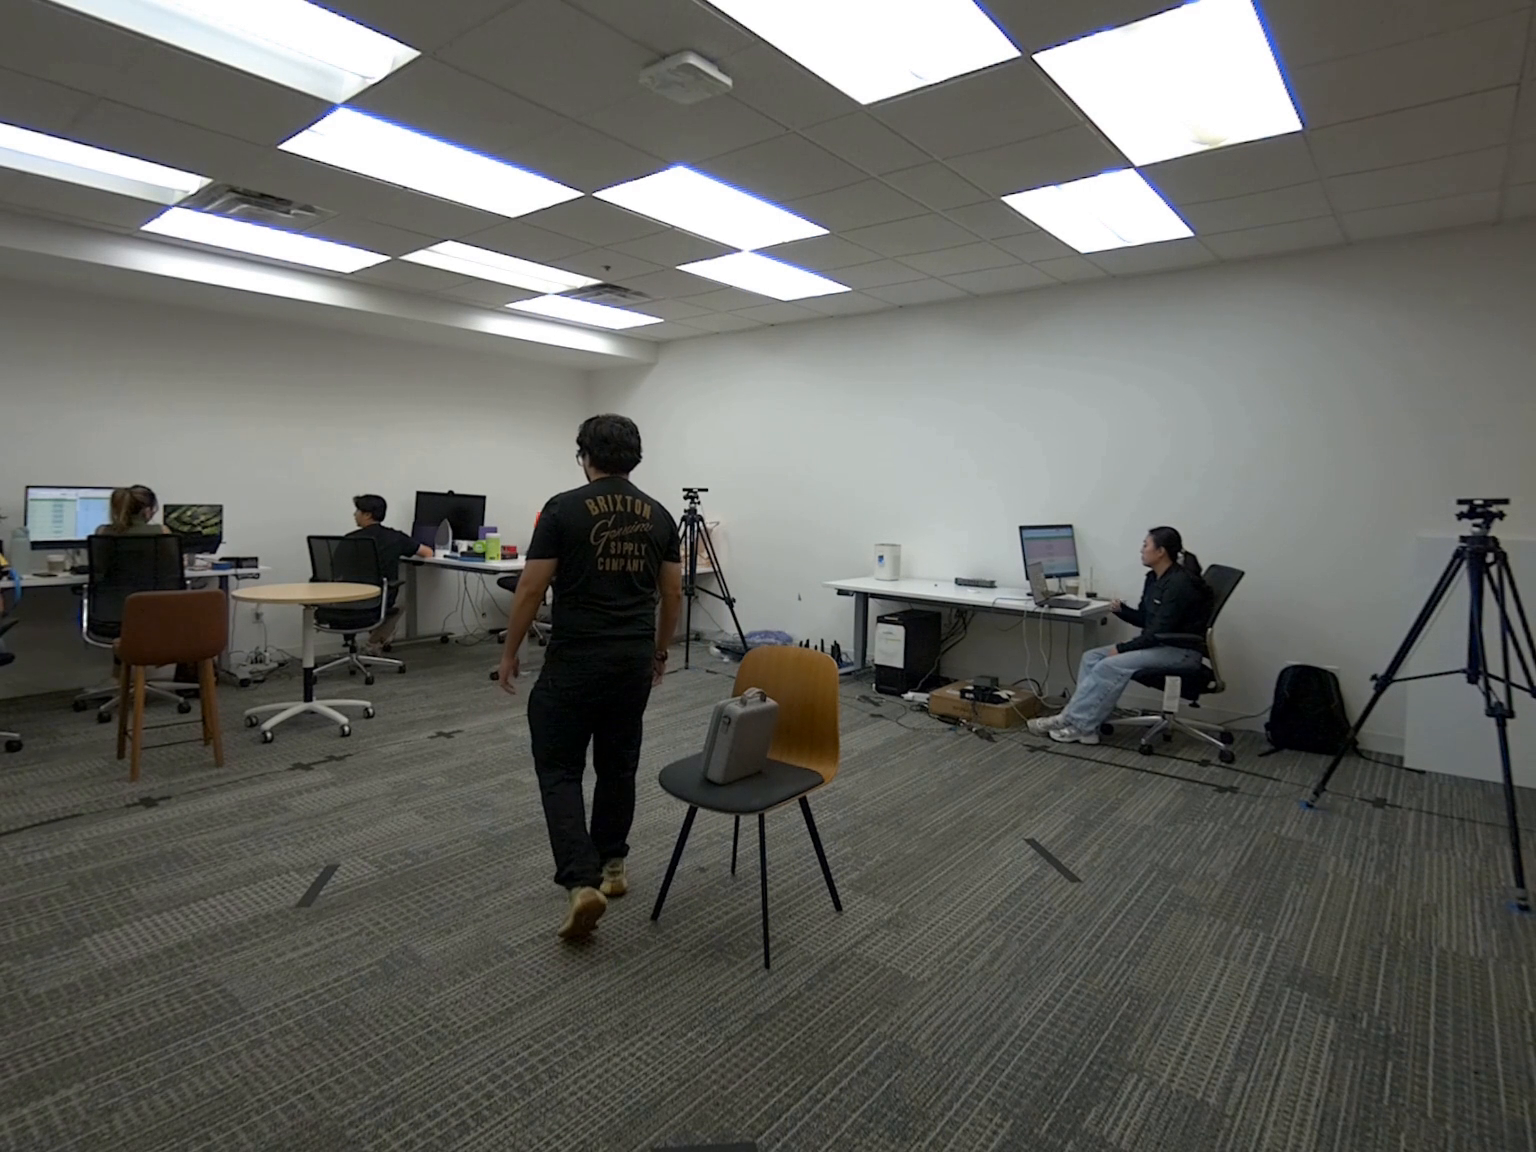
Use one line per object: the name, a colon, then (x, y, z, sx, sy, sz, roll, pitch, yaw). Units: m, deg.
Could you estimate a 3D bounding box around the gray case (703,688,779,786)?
gray case: (-0.099, 0.505, 2.701, 0.108, 0.259, 0.249, 17, 9, 33)
